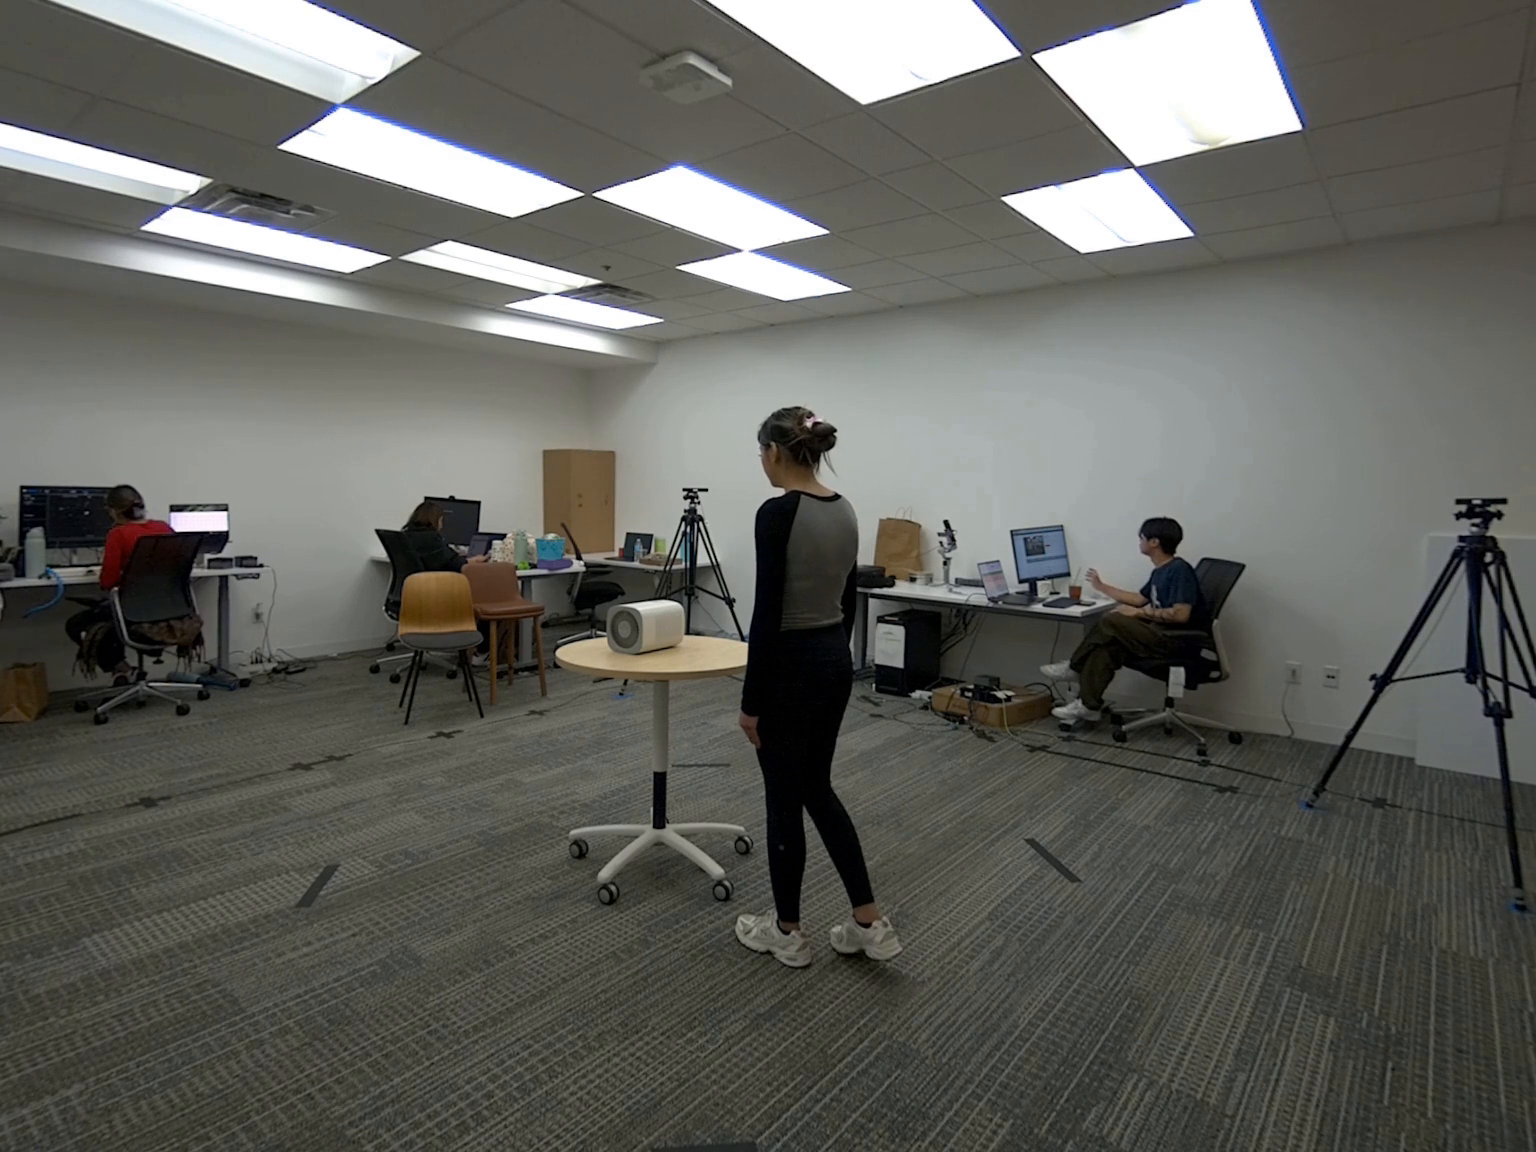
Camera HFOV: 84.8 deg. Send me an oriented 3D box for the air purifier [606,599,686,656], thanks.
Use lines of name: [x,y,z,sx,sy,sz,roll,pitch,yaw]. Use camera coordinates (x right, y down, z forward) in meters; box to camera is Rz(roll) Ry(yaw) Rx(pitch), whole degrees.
air purifier: [-0.456,0.180,3.157,0.176,0.171,0.258,2,4,34]
